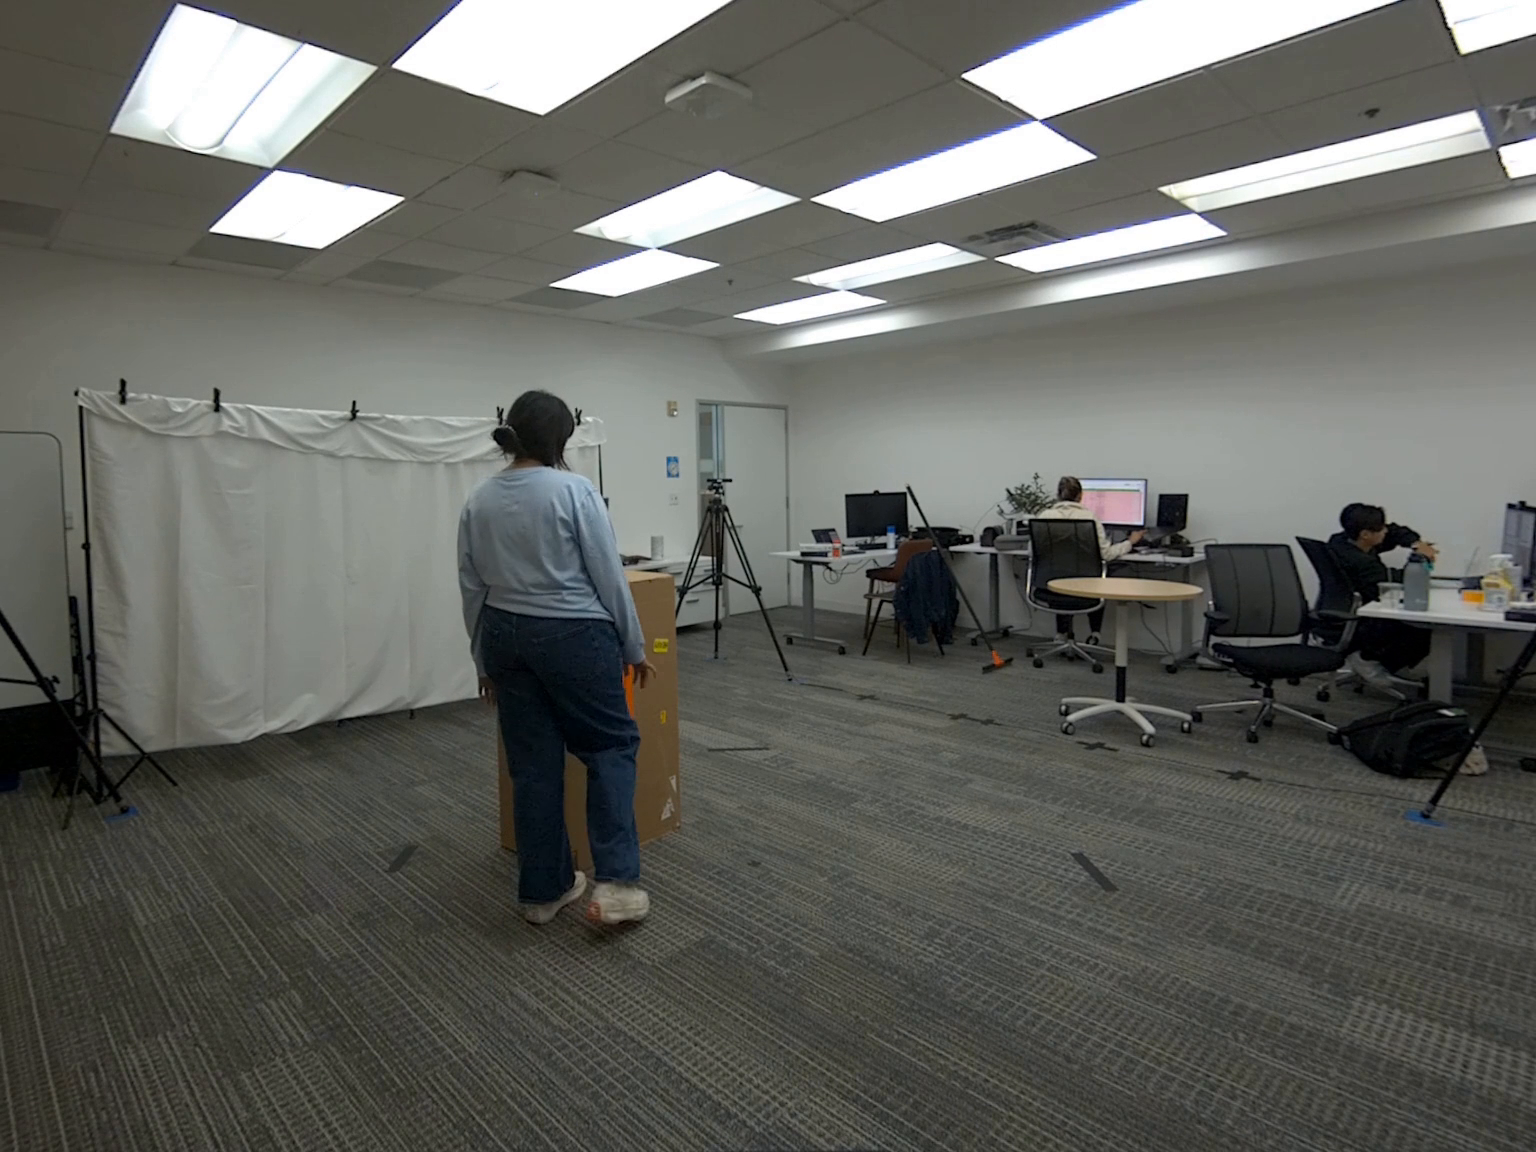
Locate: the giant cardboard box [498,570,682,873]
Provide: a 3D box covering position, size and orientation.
[{"bbox_3d":[-0.697,0.518,3.345,0.460,1.023,0.568,3,5,41],"label":"giant cardboard box"}]
